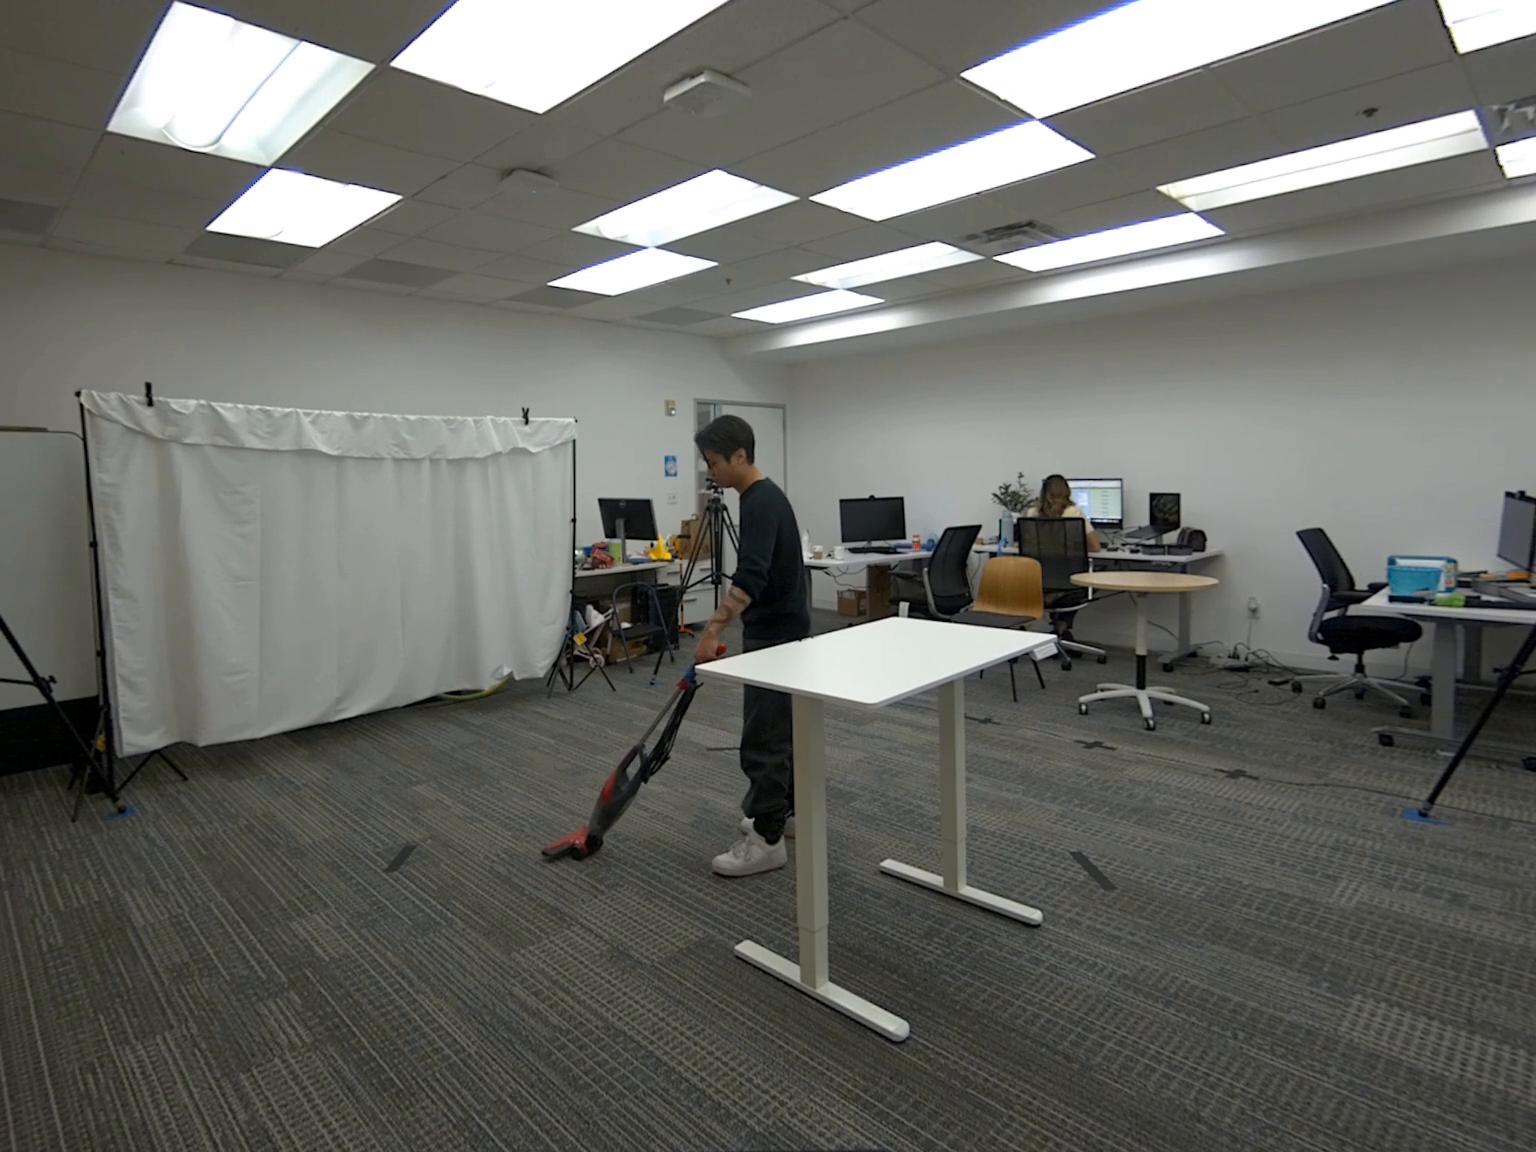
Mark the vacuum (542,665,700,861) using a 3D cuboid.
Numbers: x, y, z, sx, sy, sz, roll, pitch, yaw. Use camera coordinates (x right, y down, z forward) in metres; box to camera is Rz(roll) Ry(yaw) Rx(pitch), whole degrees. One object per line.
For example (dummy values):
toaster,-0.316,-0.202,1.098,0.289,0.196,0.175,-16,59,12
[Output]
vacuum,-0.438,0.651,3.043,0.147,1.047,0.248,45,23,13
